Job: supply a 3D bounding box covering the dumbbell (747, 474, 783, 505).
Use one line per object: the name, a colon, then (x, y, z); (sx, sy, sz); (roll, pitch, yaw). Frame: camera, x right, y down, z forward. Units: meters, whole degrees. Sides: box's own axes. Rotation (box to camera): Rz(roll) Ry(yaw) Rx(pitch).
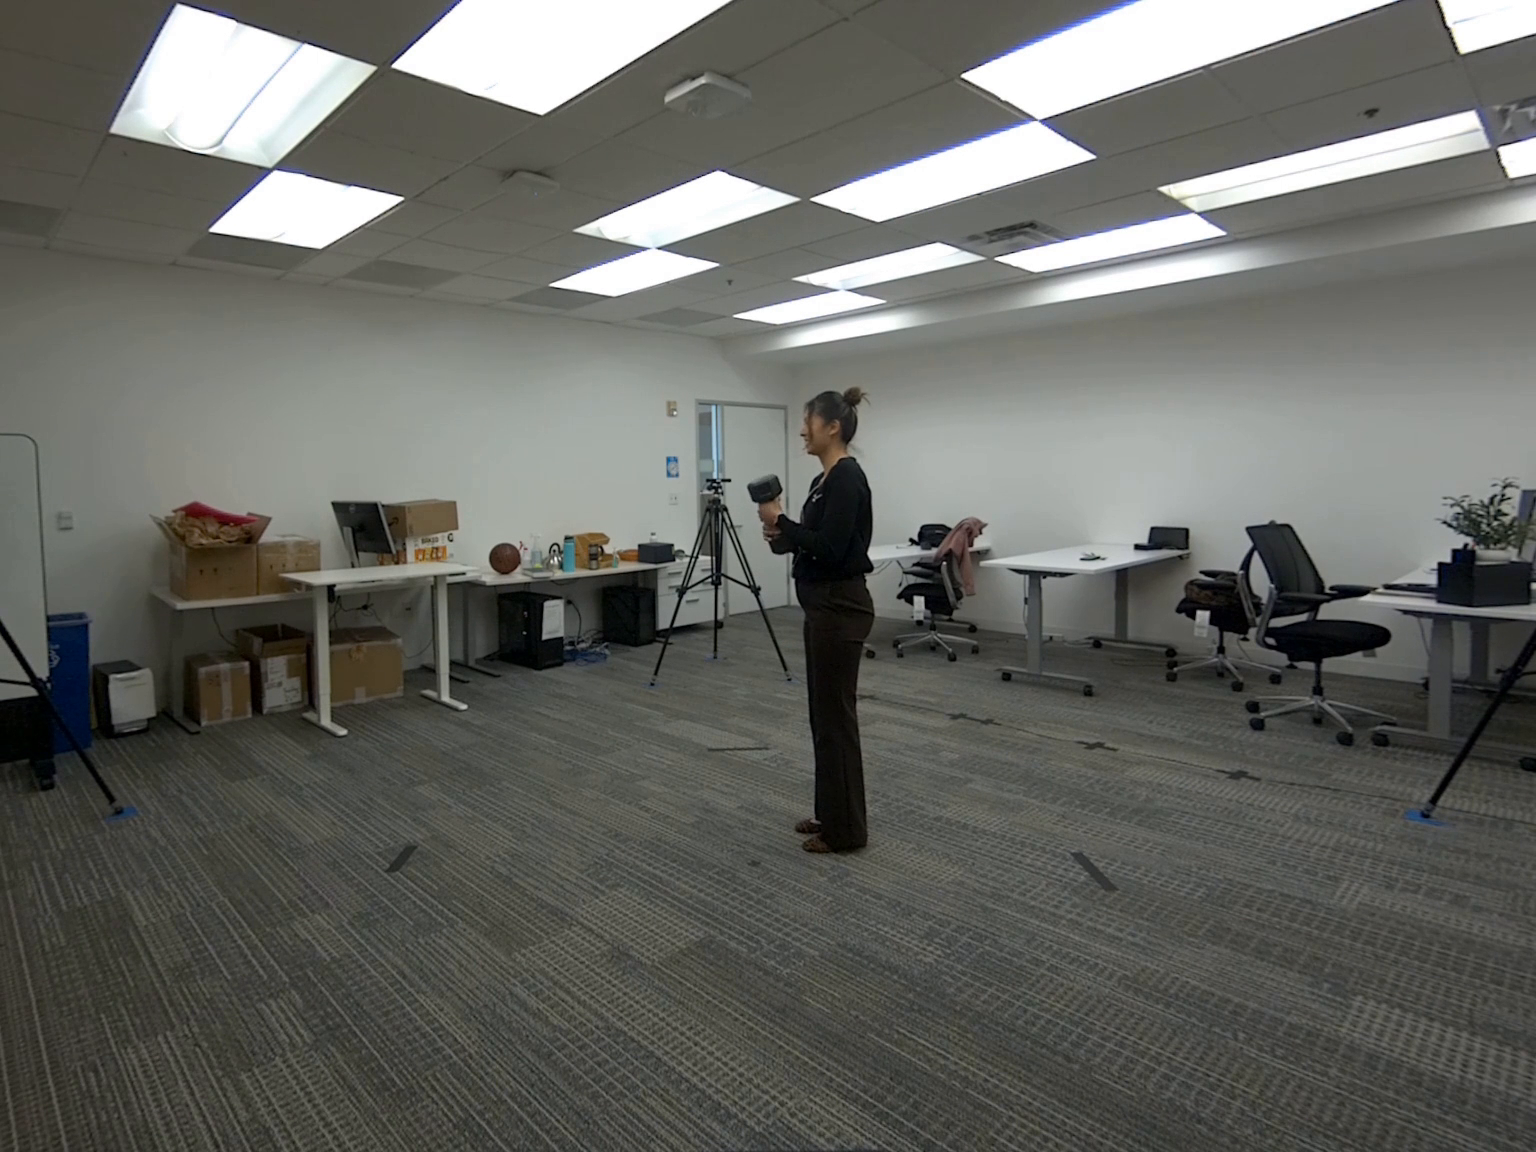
dumbbell: (0.034, -0.232, 3.207); (0.107, 0.290, 0.126); (-25, 11, -24)
